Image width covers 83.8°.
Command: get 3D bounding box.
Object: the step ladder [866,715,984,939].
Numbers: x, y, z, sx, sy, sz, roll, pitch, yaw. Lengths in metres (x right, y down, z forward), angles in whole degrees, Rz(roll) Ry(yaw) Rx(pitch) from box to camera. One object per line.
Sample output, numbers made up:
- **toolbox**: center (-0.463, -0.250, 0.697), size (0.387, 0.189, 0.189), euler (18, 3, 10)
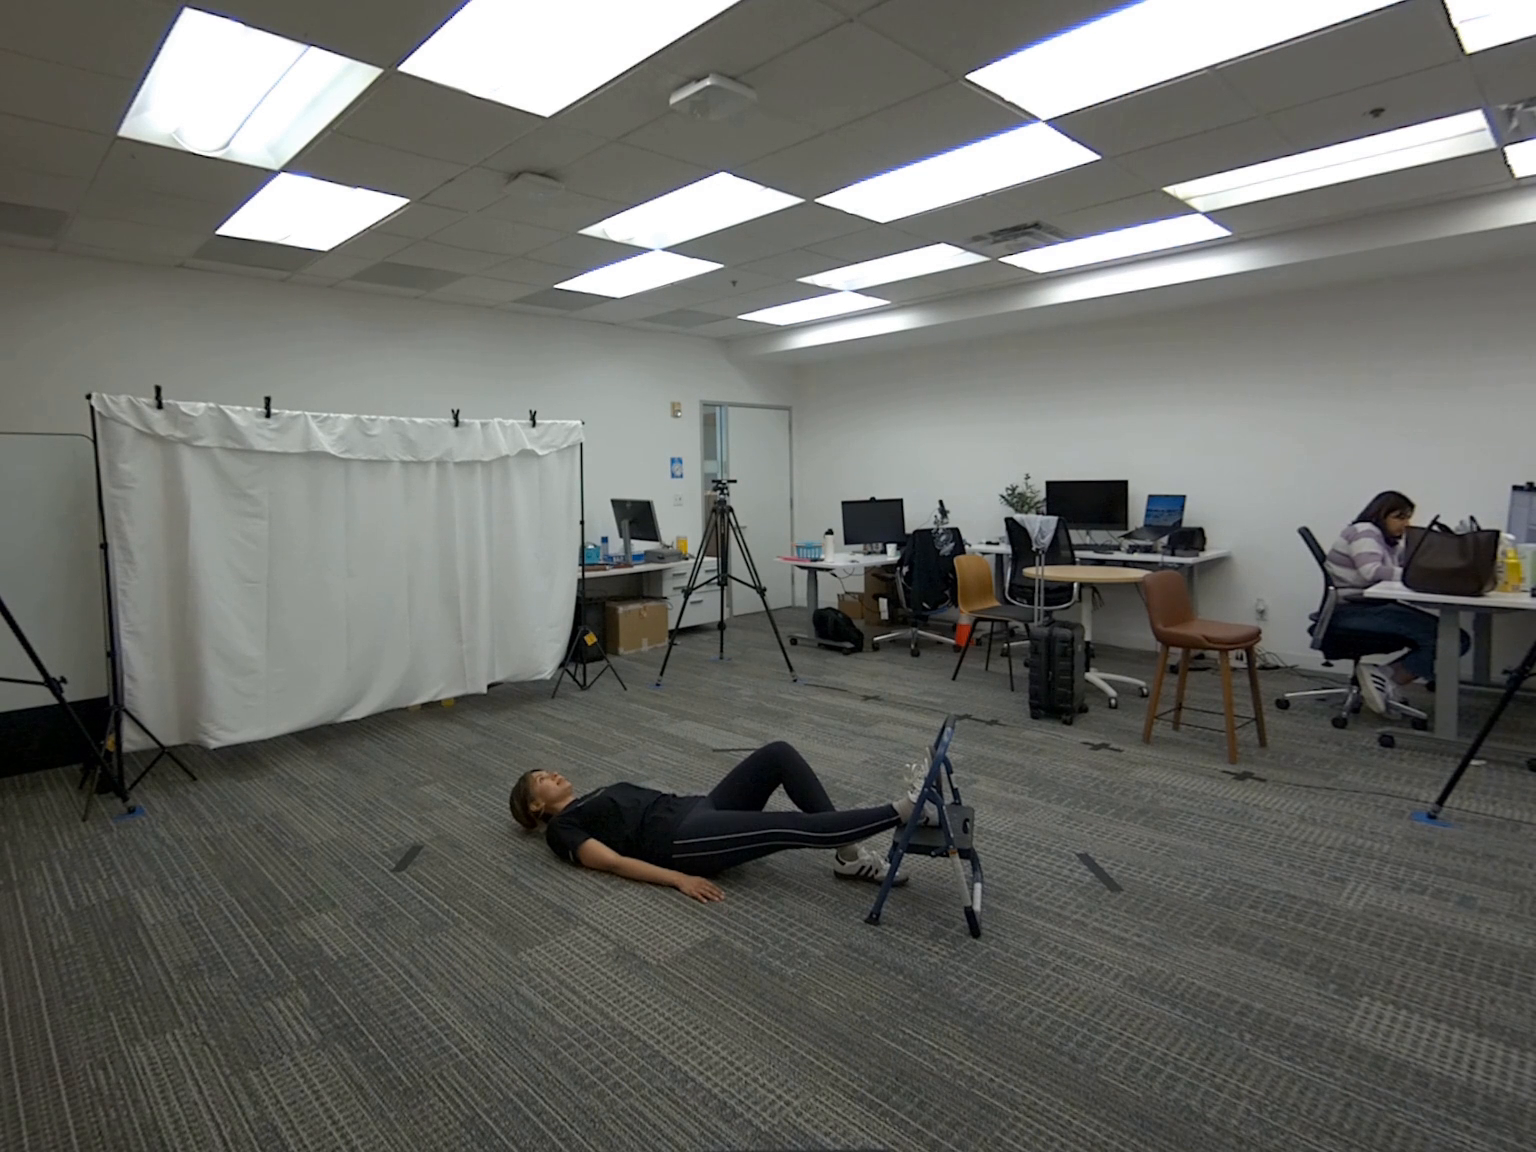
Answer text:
- **step ladder**: center (0.528, 0.771, 2.799), size (0.355, 0.604, 0.425), euler (0, 4, 16)
